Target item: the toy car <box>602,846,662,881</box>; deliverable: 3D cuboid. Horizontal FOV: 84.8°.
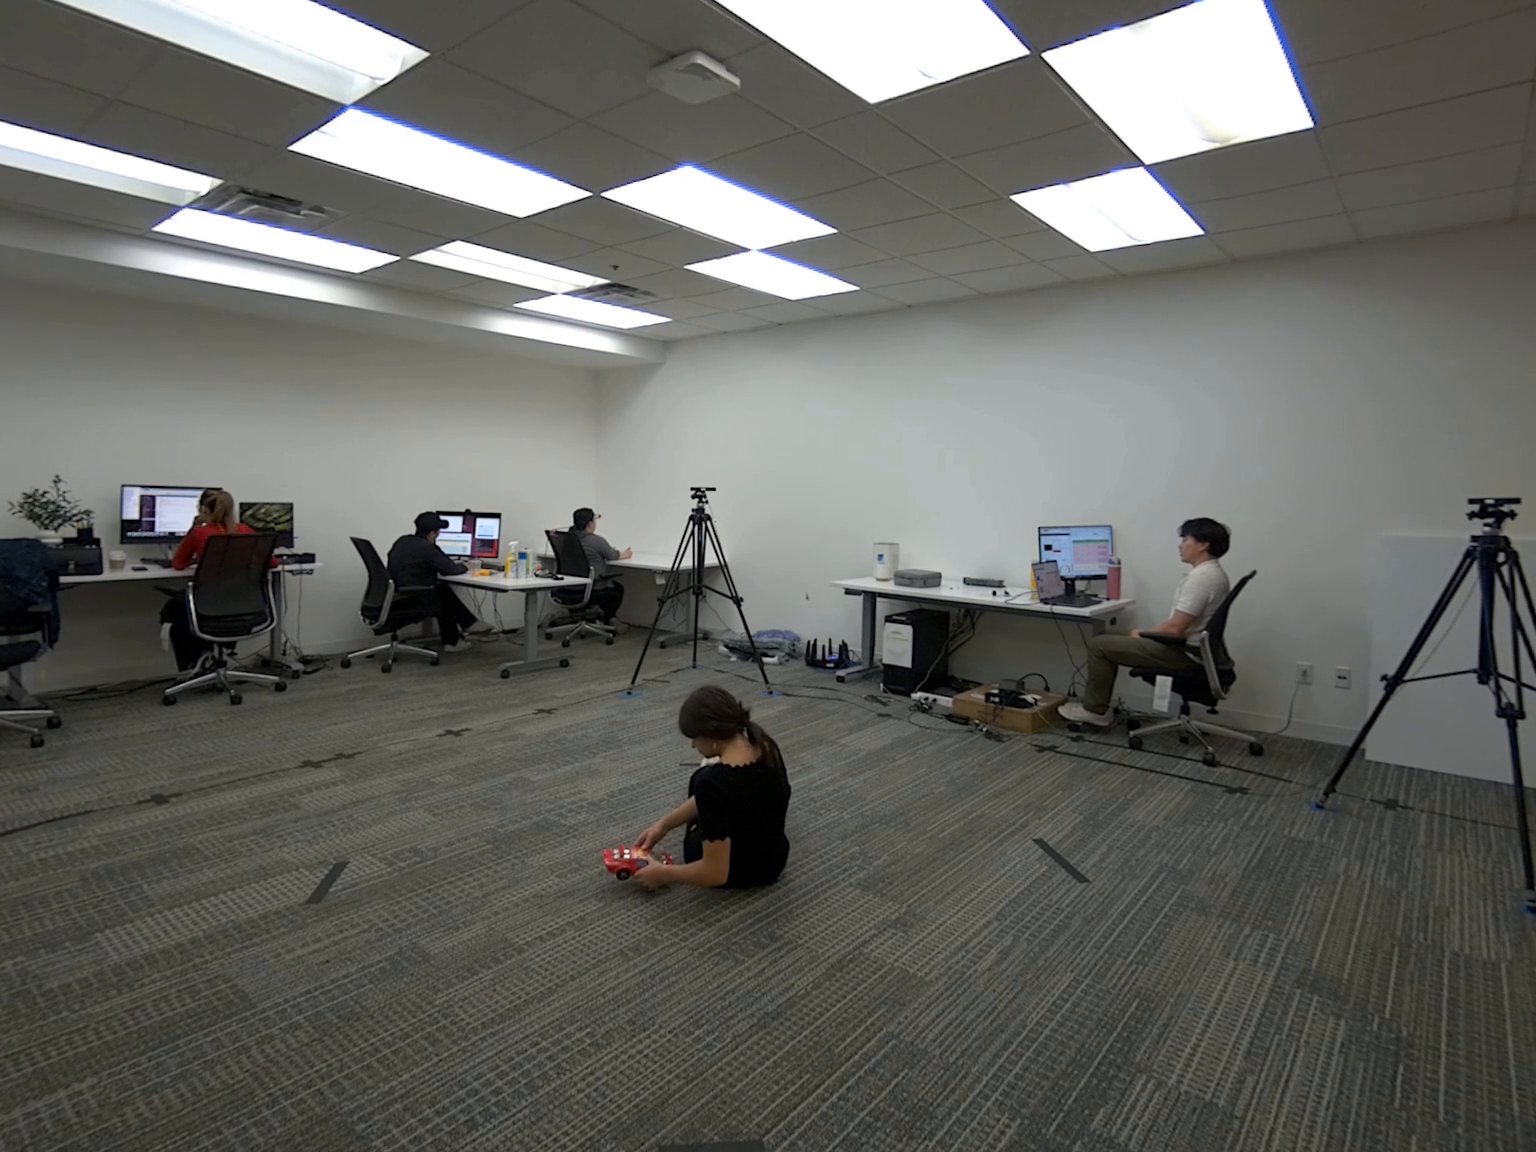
[{"bbox_3d":[-0.462,0.993,2.964,0.249,0.083,0.134,19,12,-18],"label":"toy car"}]
